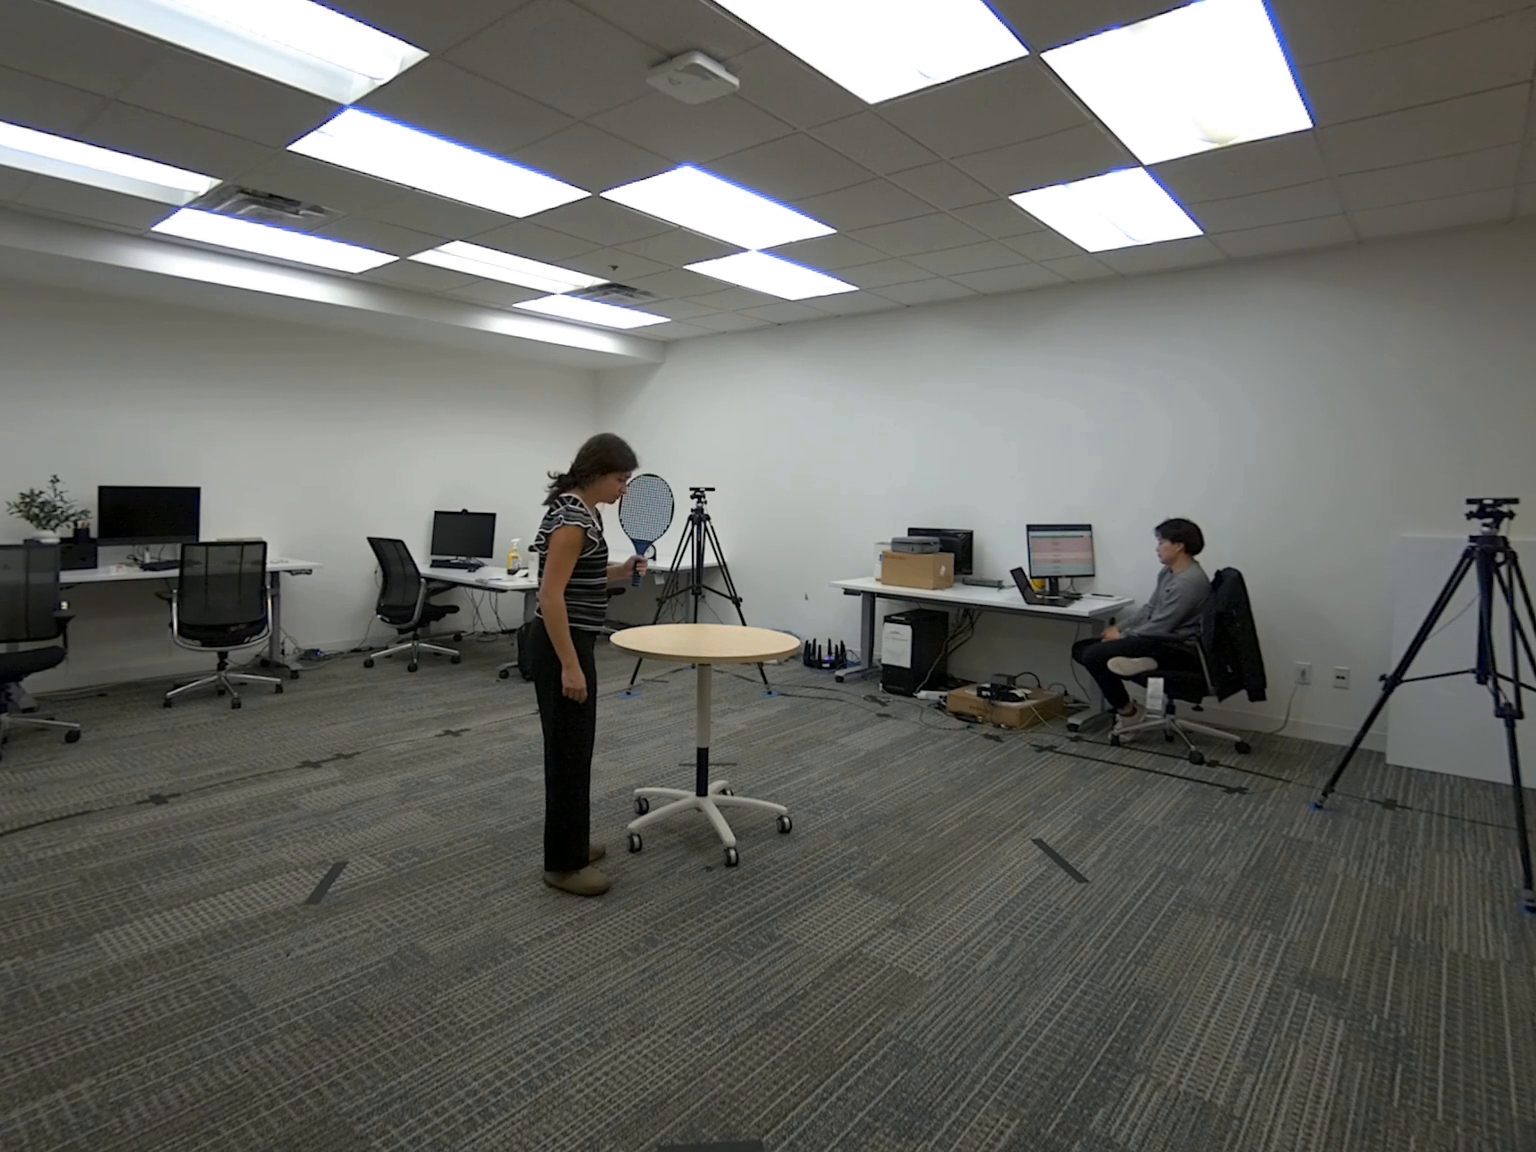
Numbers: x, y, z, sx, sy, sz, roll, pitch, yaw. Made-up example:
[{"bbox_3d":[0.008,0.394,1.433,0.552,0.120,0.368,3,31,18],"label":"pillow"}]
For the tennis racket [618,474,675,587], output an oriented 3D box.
[{"bbox_3d":[-0.507,-0.177,3.226,0.214,0.434,0.031,11,-3,0],"label":"tennis racket"}]
